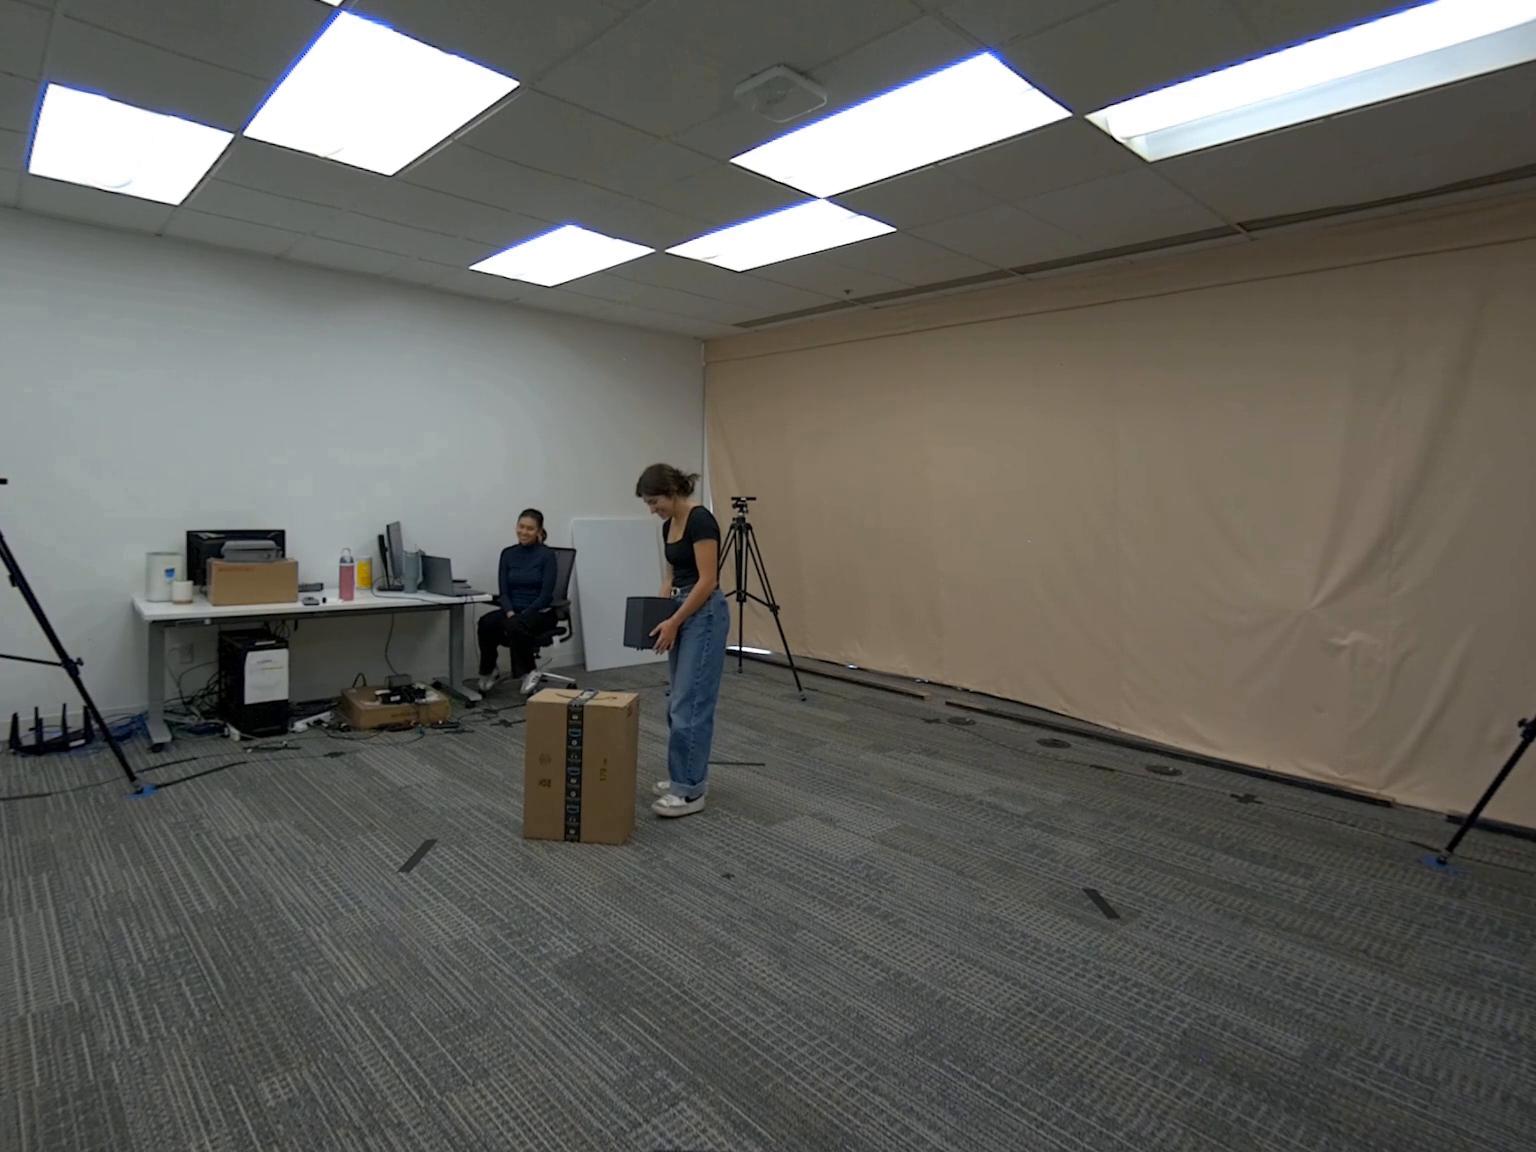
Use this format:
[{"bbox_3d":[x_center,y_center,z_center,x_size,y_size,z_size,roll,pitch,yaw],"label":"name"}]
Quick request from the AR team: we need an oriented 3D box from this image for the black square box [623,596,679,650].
[{"bbox_3d":[-0.547,0.207,3.803,0.153,0.228,0.221,4,-4,-27],"label":"black square box"}]
